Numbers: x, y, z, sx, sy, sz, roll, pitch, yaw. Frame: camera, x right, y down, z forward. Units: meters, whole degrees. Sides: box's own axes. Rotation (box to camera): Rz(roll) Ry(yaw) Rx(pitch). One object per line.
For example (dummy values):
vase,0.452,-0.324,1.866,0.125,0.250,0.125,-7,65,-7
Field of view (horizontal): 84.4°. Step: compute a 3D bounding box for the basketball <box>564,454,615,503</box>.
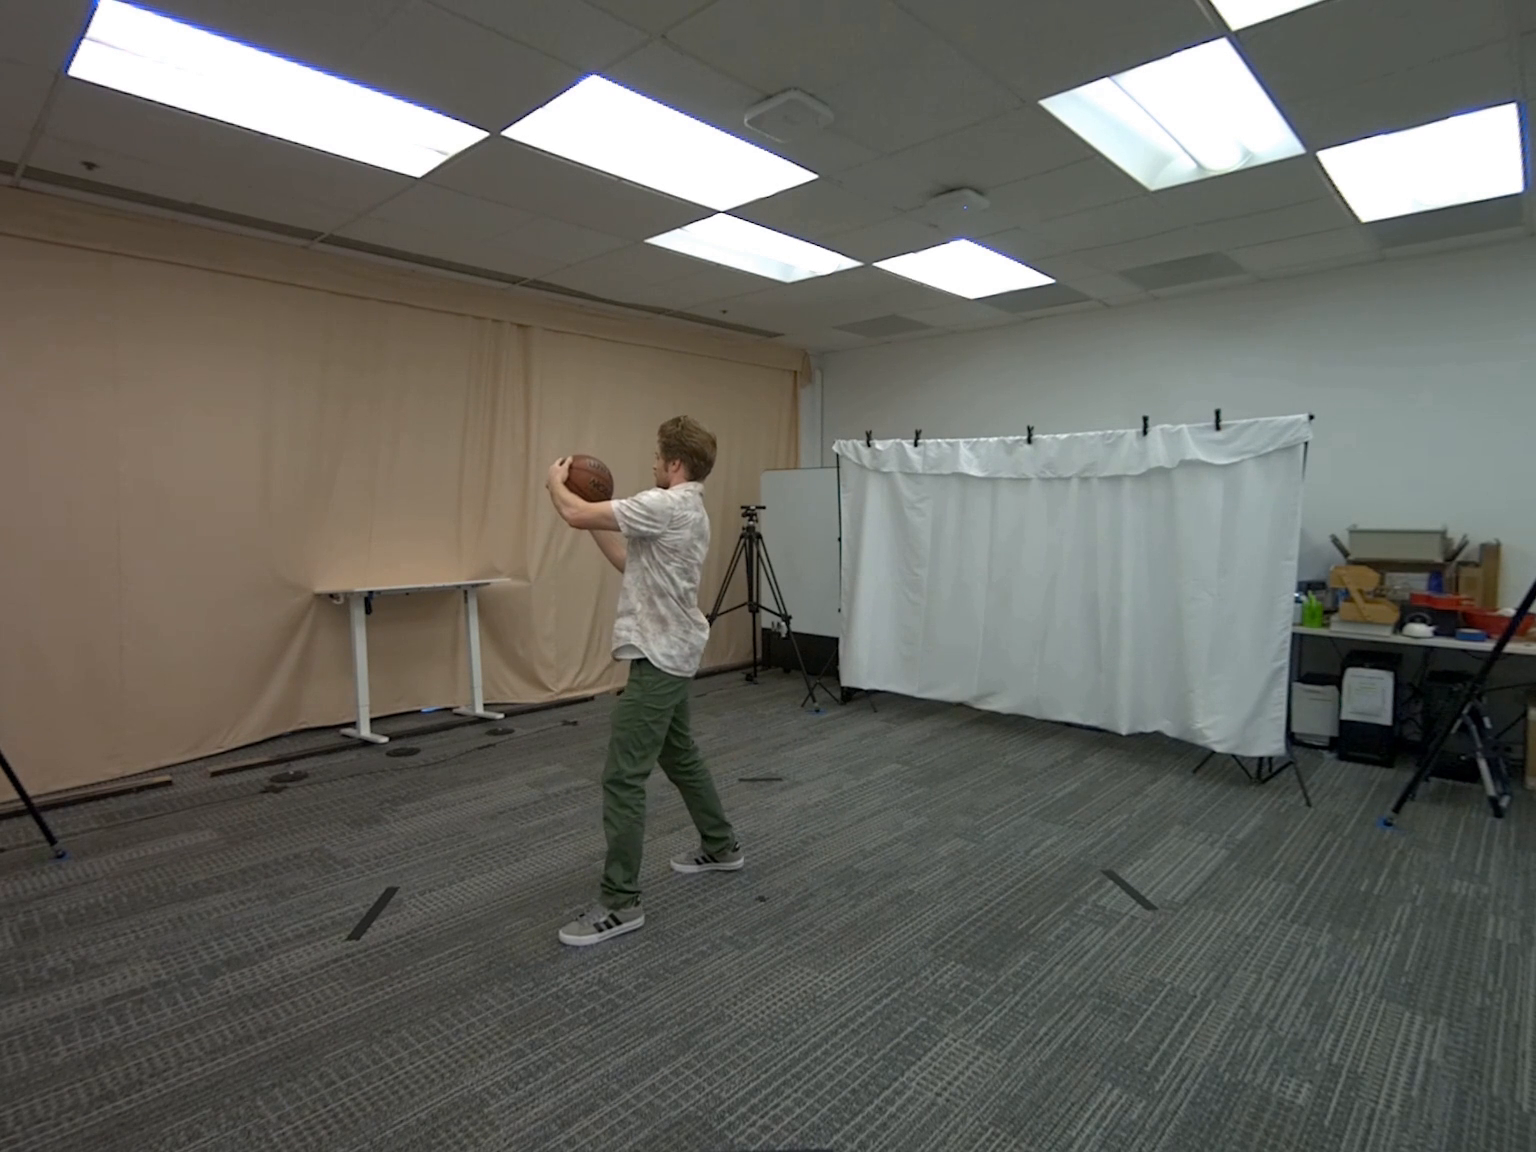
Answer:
basketball,-0.707,-0.340,3.159,0.236,0.235,0.237,0,4,-2
